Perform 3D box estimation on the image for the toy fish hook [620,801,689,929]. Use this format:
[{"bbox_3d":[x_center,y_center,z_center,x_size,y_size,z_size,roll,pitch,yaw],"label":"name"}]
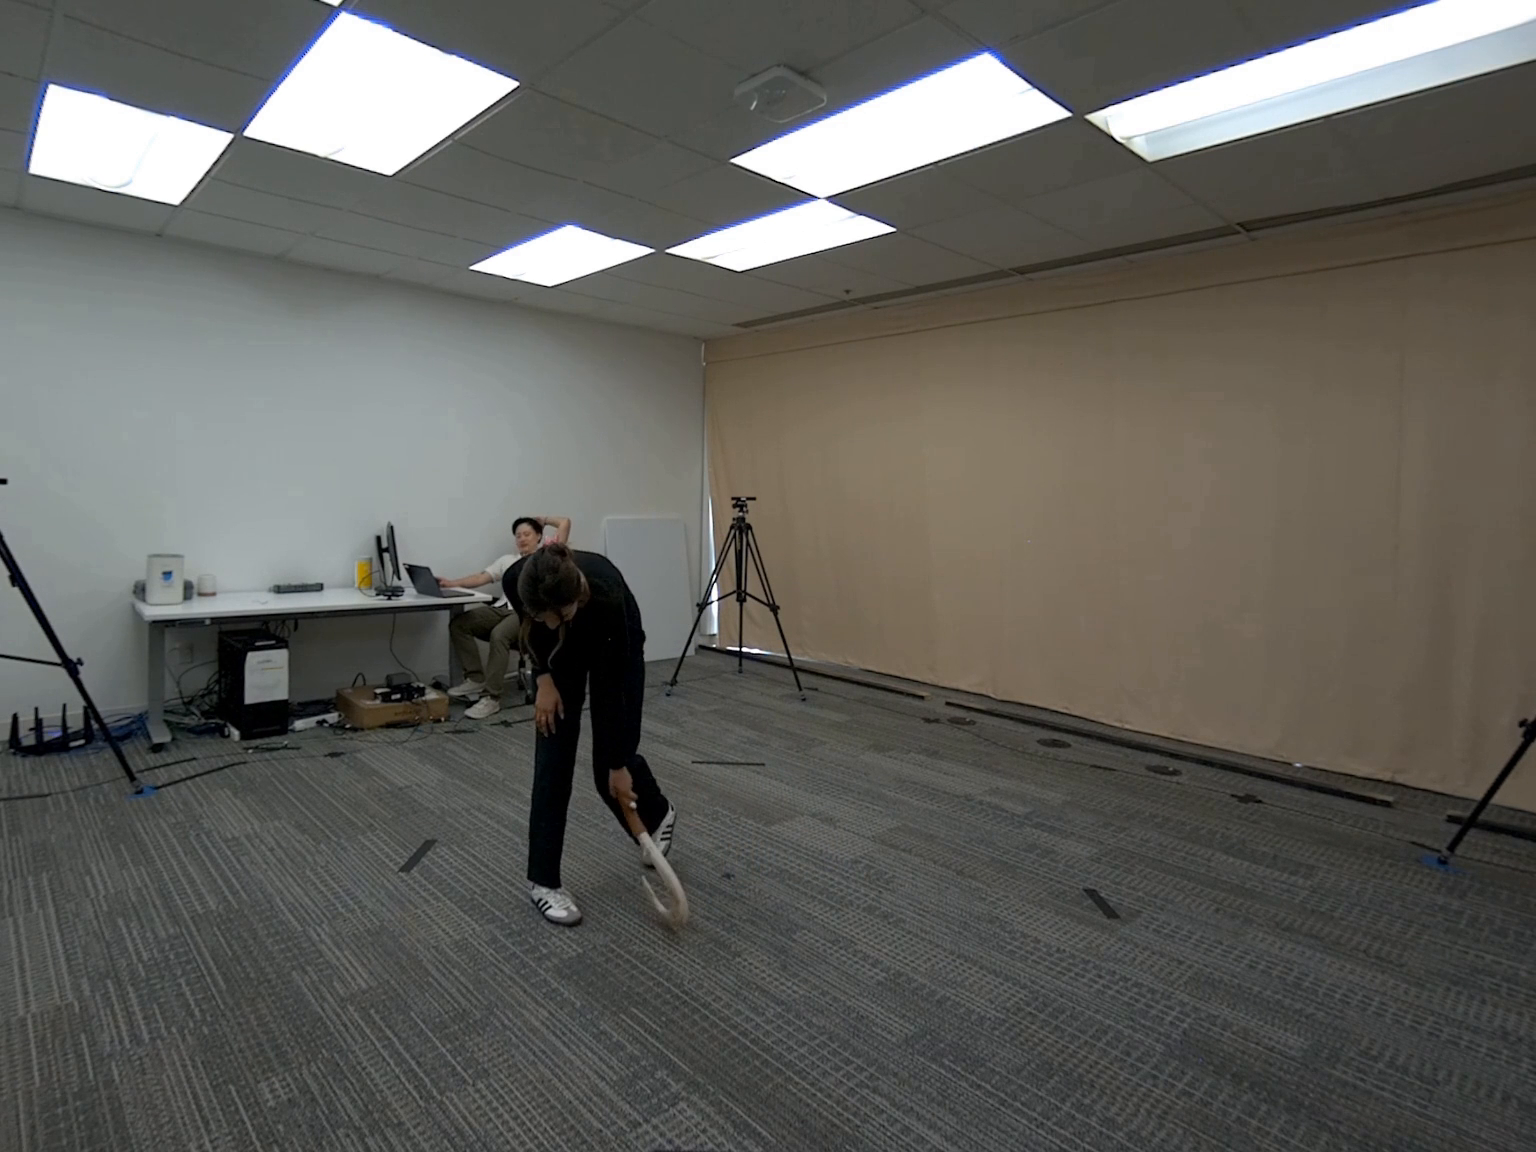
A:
[{"bbox_3d":[-0.409,0.914,2.758,0.047,0.517,0.224,-14,-26,-41],"label":"toy fish hook"}]
